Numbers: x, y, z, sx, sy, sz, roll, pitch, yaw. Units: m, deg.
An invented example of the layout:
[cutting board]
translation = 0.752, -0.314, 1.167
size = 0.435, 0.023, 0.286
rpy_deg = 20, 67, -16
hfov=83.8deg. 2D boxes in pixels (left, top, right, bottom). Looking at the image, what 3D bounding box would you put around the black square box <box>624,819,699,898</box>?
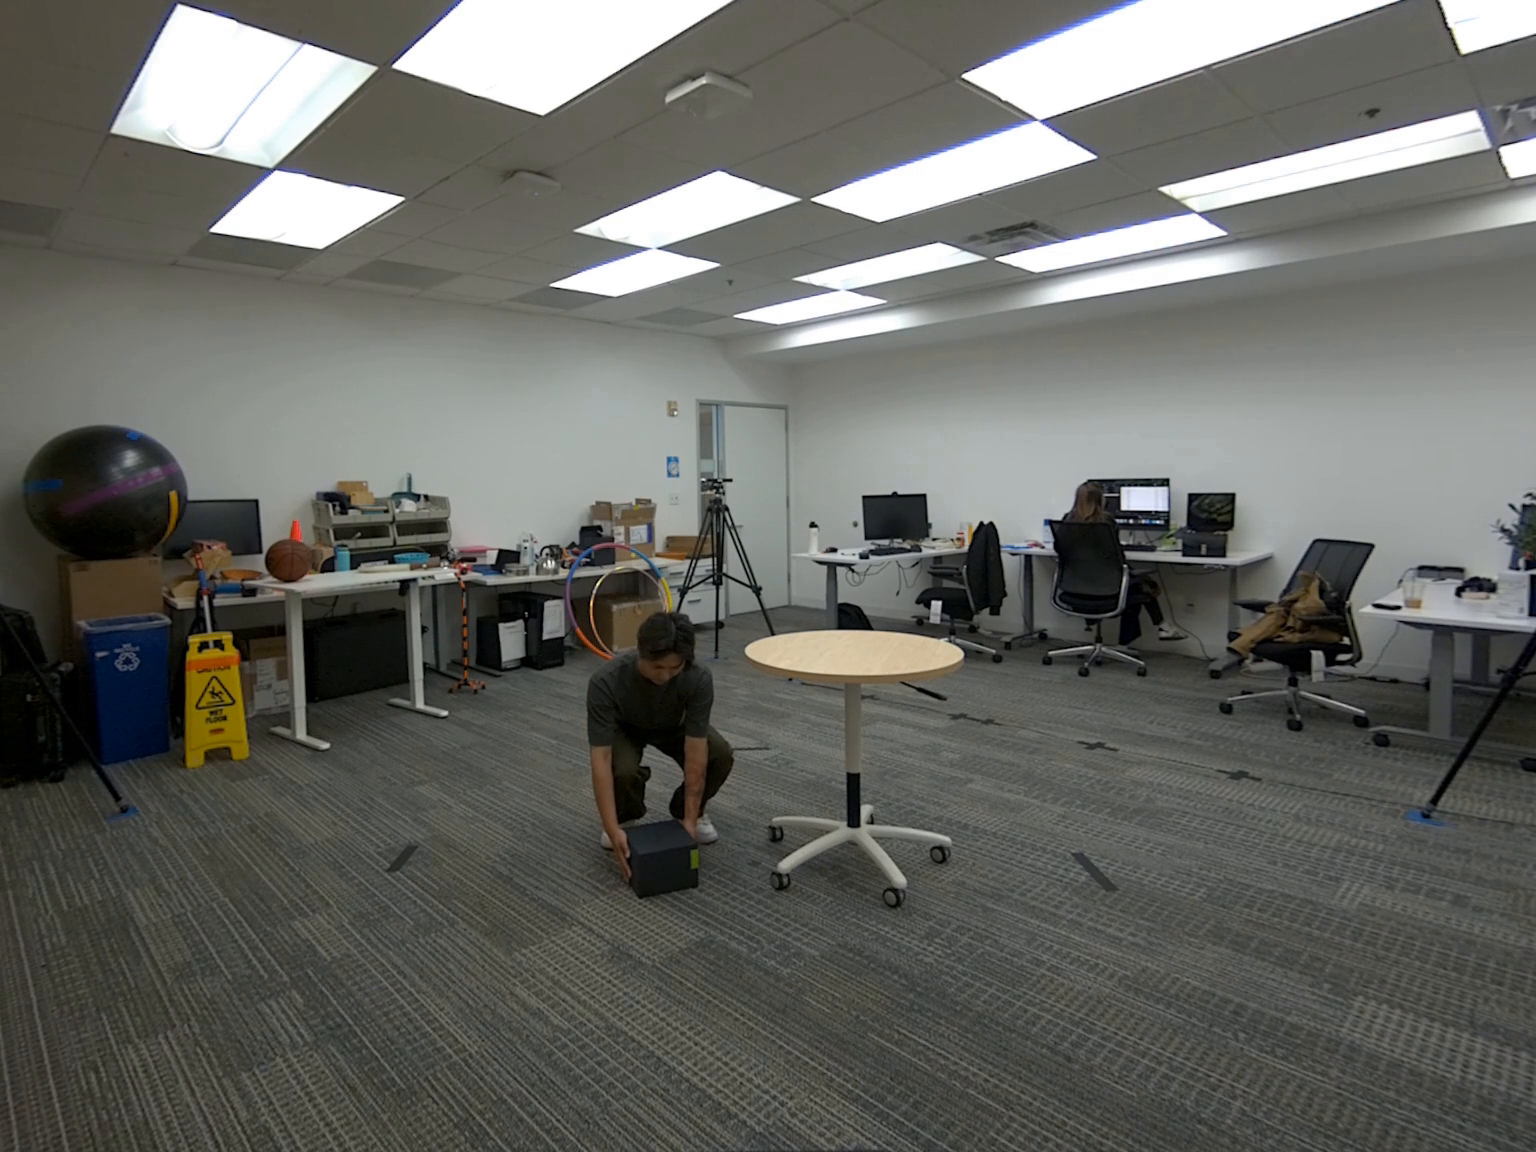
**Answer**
[black square box]
translation = -0.383, 0.982, 2.988
size = 0.213, 0.155, 0.234
rpy_deg = -3, 7, -24
